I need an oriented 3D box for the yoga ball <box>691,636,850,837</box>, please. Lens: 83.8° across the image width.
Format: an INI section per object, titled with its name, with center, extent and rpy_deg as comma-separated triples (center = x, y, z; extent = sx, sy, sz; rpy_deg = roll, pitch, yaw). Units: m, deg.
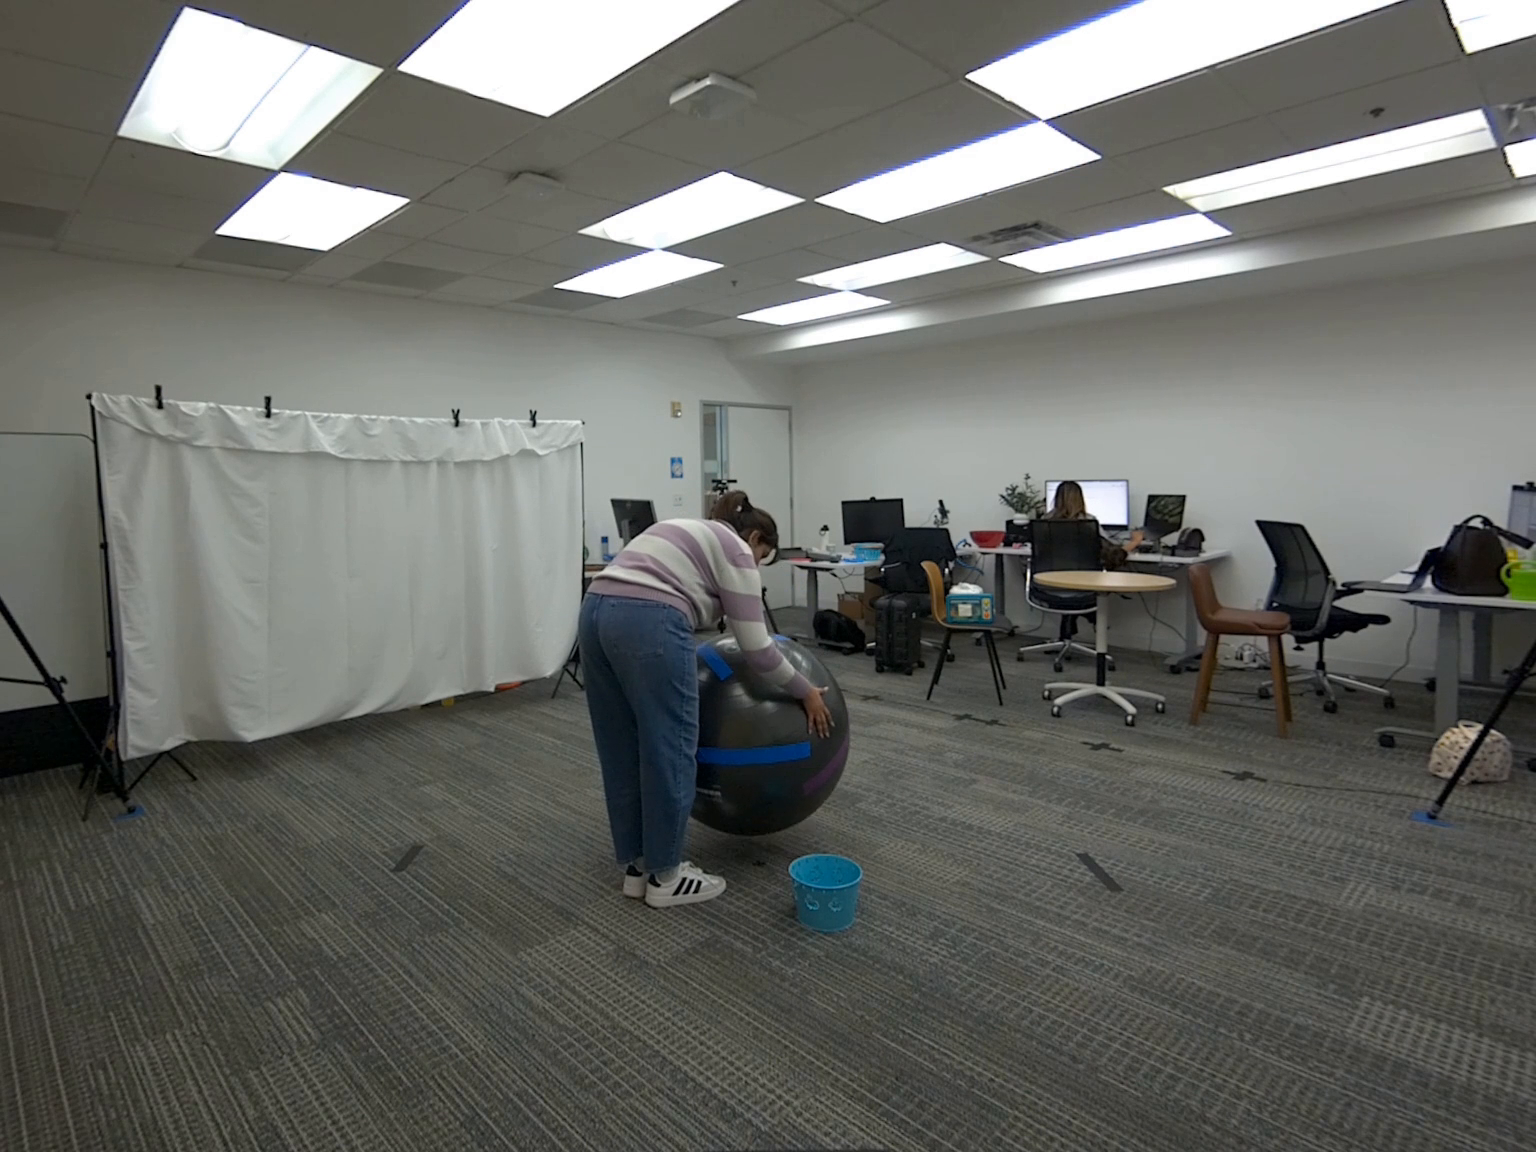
[yoga ball]
center = -0.061, 0.602, 3.245
extent = 0.757, 0.755, 0.762
rpy_deg = -1, 5, -2
